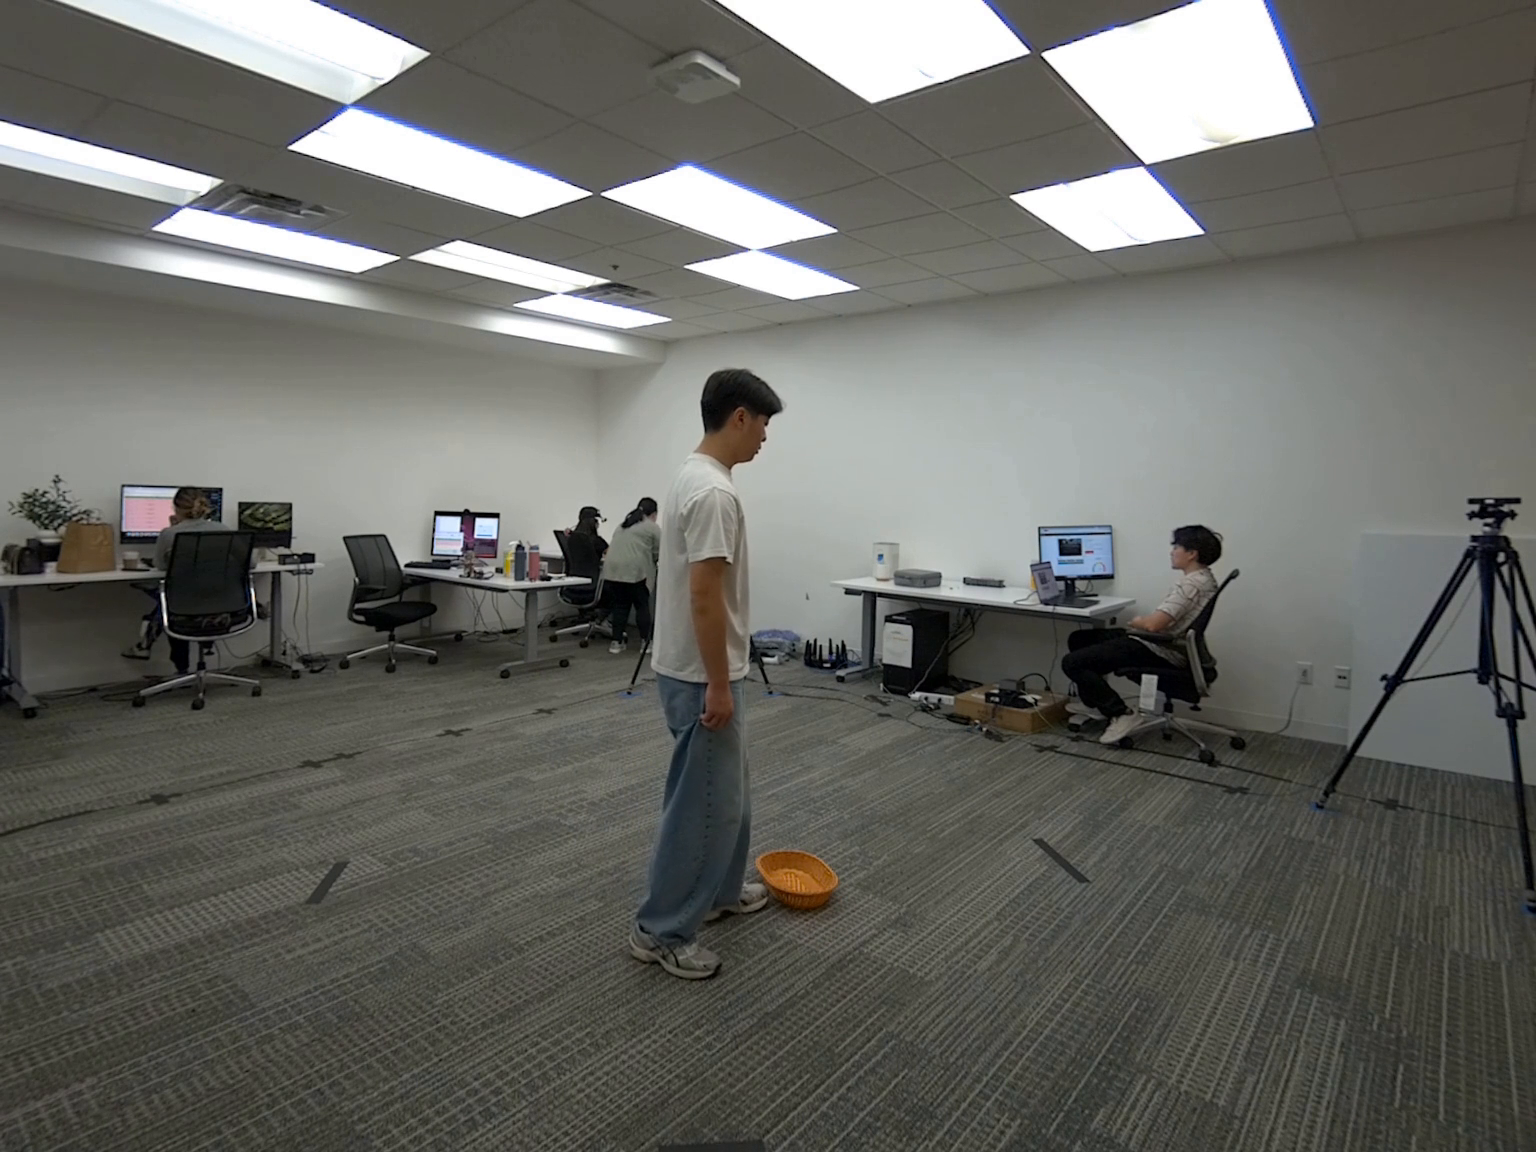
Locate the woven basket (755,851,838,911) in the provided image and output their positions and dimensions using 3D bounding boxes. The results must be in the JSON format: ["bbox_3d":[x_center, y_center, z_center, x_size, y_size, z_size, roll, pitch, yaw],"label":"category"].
[{"bbox_3d":[0.086,1.045,2.949,0.248,0.073,0.358,-1,5,-17],"label":"woven basket"}]
